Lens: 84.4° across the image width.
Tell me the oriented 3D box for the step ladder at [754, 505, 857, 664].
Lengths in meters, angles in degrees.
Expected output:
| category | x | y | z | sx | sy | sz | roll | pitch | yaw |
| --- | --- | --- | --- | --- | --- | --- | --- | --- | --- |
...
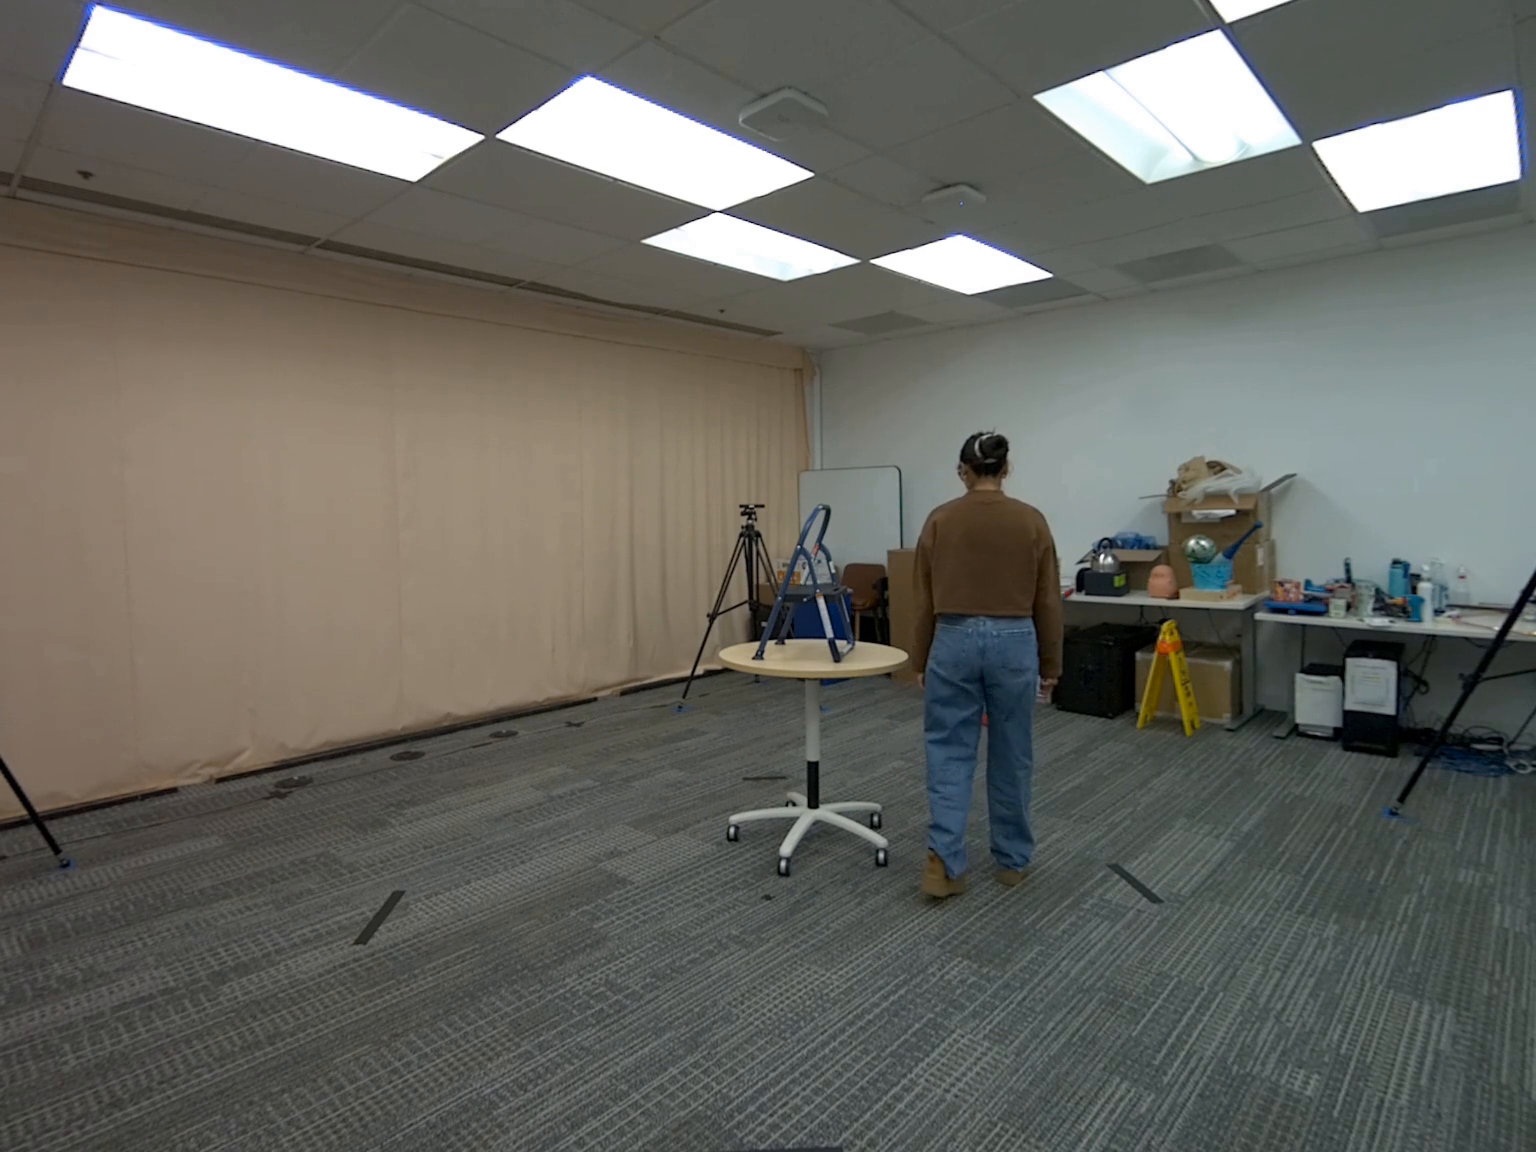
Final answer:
| category | x | y | z | sx | sy | sz | roll | pitch | yaw |
| --- | --- | --- | --- | --- | --- | --- | --- | --- | --- |
| step ladder | 0.159 | 0.015 | 3.448 | 0.355 | 0.605 | 0.424 | 0 | 3 | 15 |
